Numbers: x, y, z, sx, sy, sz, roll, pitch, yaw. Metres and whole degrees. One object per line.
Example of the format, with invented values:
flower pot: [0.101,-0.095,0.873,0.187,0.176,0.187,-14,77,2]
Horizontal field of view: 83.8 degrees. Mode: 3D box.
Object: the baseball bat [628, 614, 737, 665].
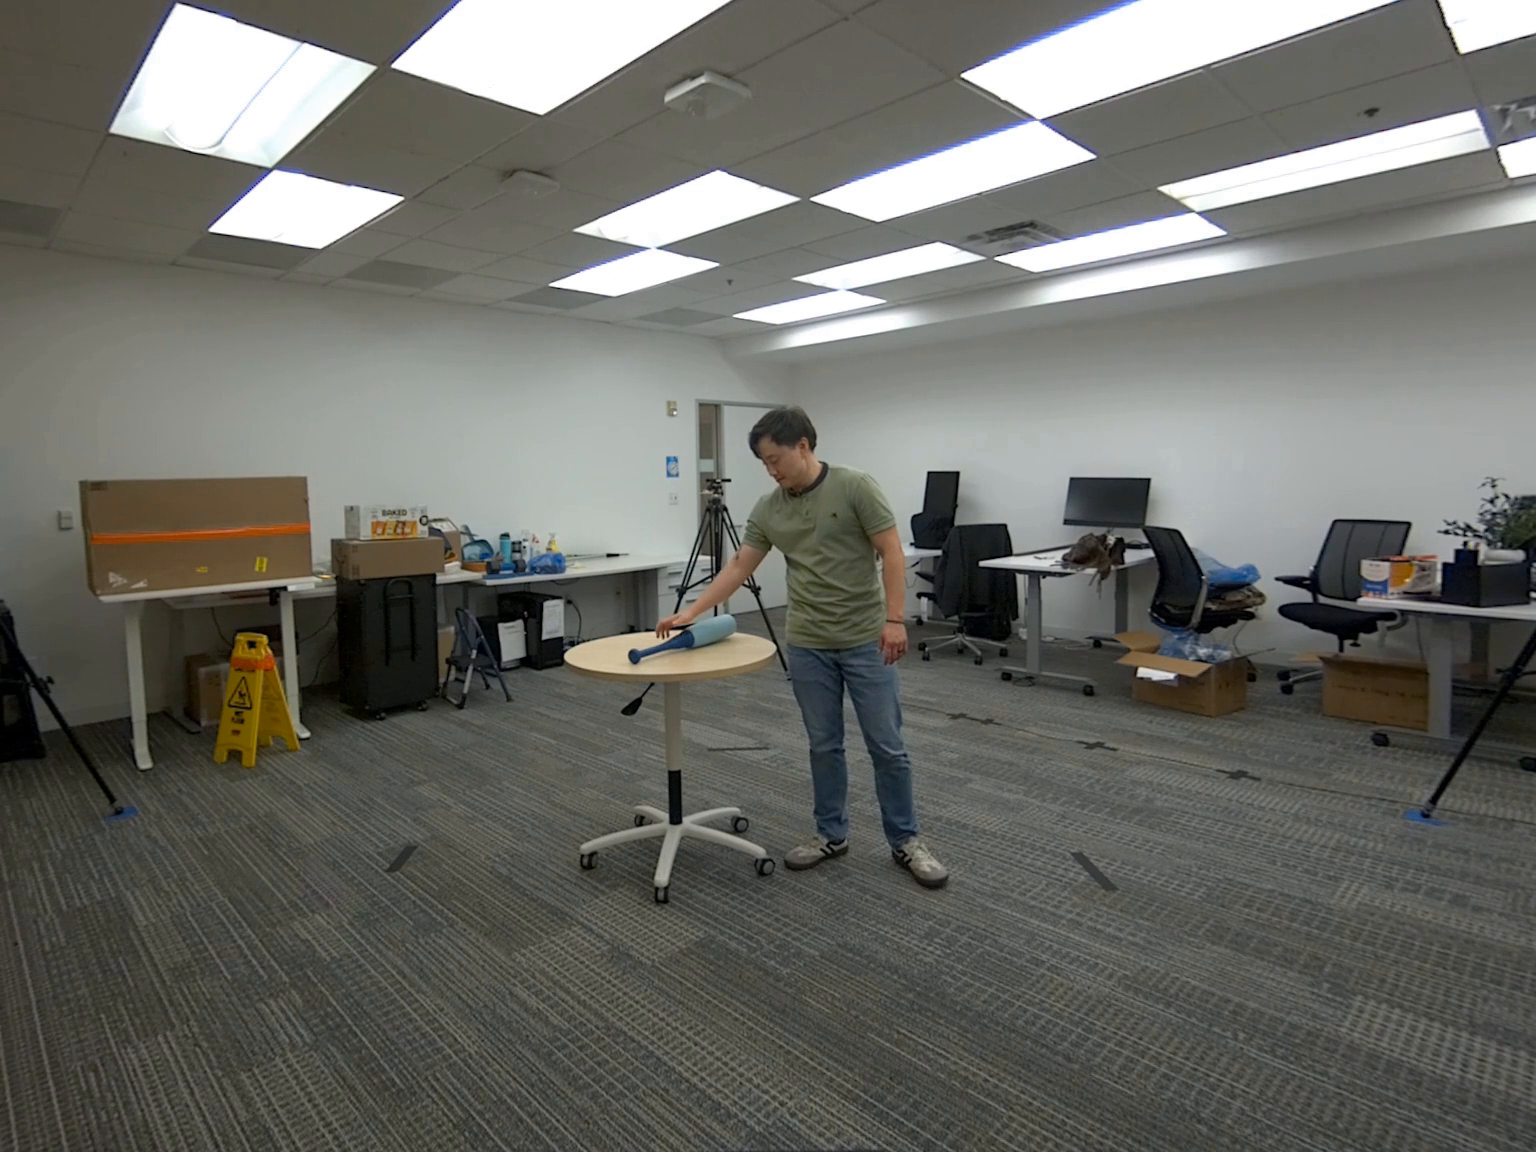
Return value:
baseball bat: [-0.296,0.232,3.078,0.091,0.088,0.532,2,12,34]
